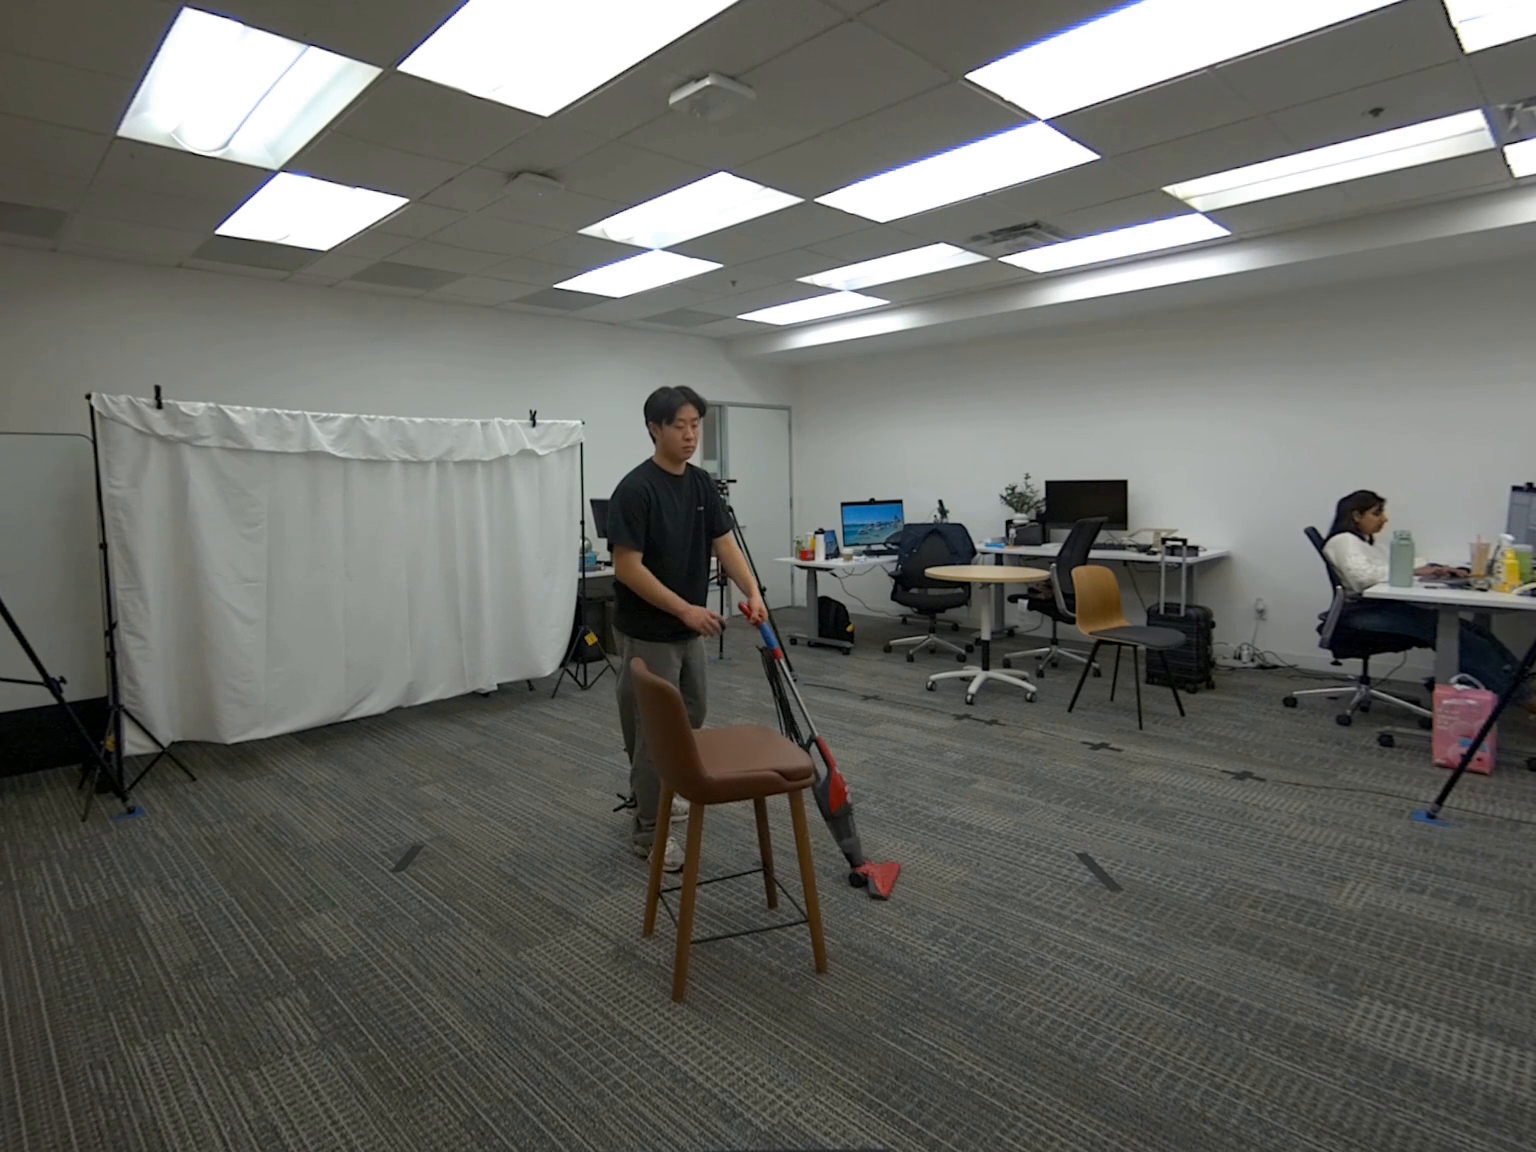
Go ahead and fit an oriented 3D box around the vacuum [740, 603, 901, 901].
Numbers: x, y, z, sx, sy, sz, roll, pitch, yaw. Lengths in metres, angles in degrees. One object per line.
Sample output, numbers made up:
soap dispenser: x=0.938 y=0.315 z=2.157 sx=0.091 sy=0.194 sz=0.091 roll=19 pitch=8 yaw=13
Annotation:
vacuum: x=0.145 y=0.583 z=3.010 sx=0.145 sy=1.058 sz=0.248 roll=-28 pitch=-7 yaw=19
